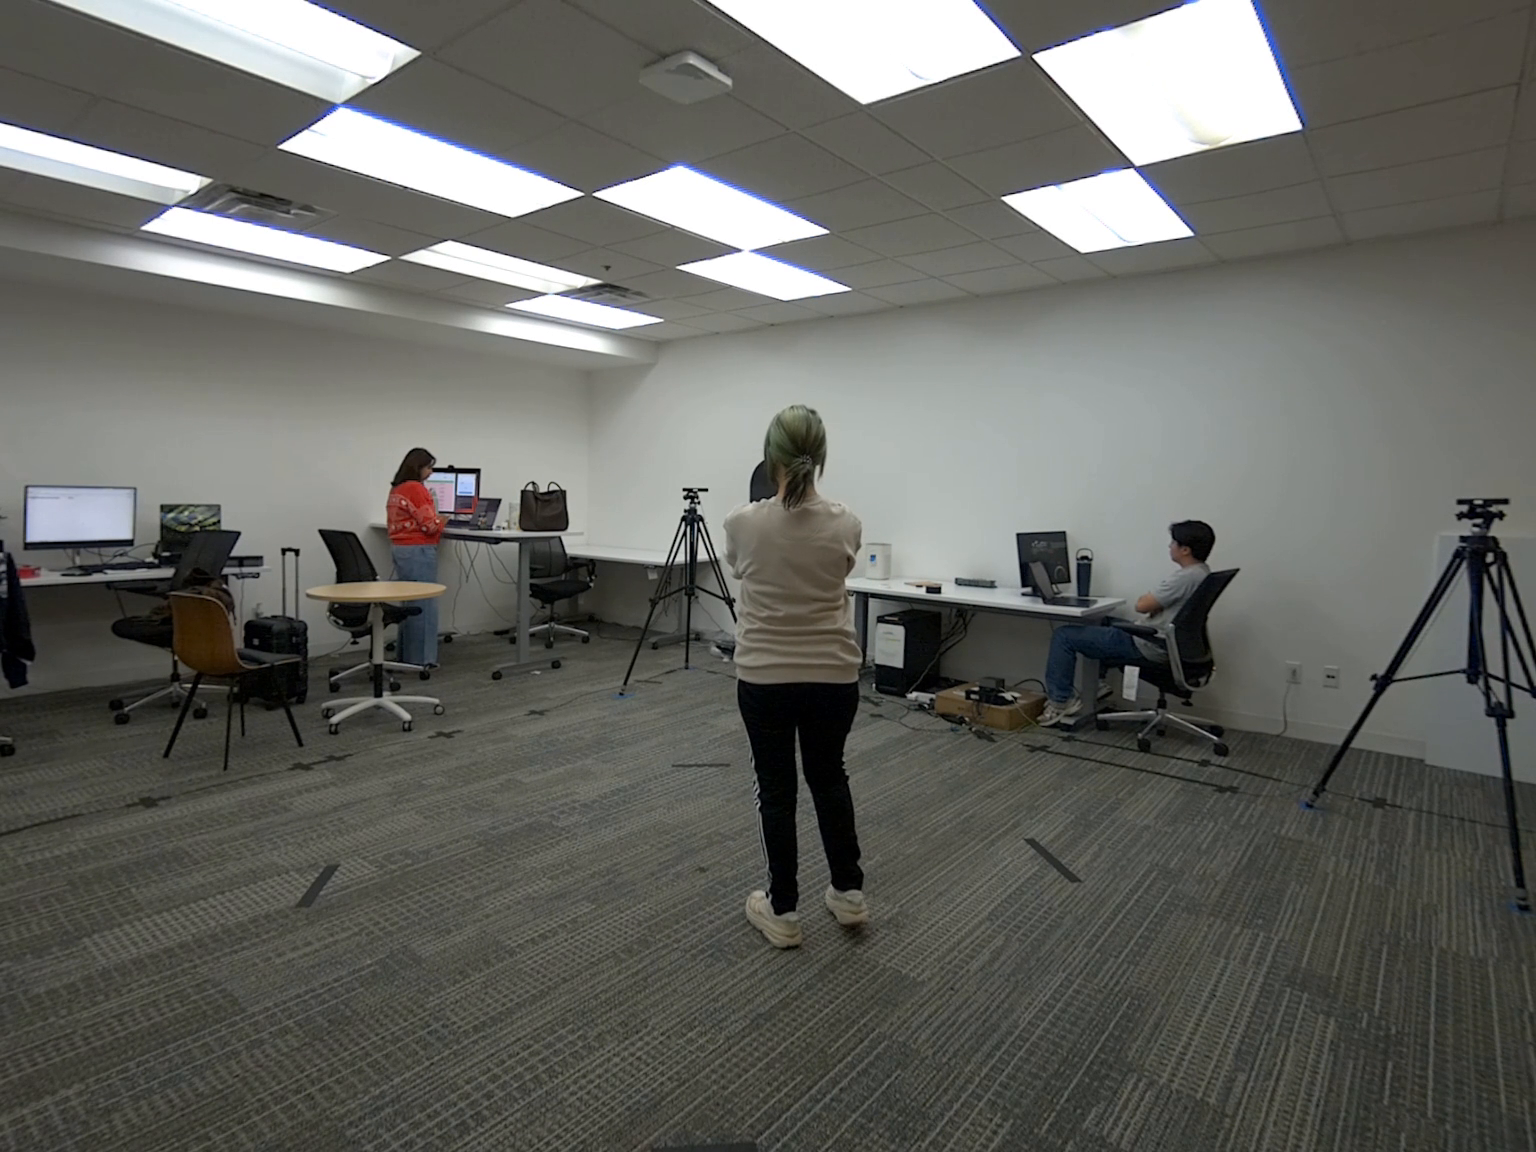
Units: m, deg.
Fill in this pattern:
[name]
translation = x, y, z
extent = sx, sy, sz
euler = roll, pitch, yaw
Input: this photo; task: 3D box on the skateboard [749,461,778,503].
[skateboard]
translation = -0.001, -0.058, 3.173
extent = 0.192, 0.798, 0.109
euler = 3, -18, -7
